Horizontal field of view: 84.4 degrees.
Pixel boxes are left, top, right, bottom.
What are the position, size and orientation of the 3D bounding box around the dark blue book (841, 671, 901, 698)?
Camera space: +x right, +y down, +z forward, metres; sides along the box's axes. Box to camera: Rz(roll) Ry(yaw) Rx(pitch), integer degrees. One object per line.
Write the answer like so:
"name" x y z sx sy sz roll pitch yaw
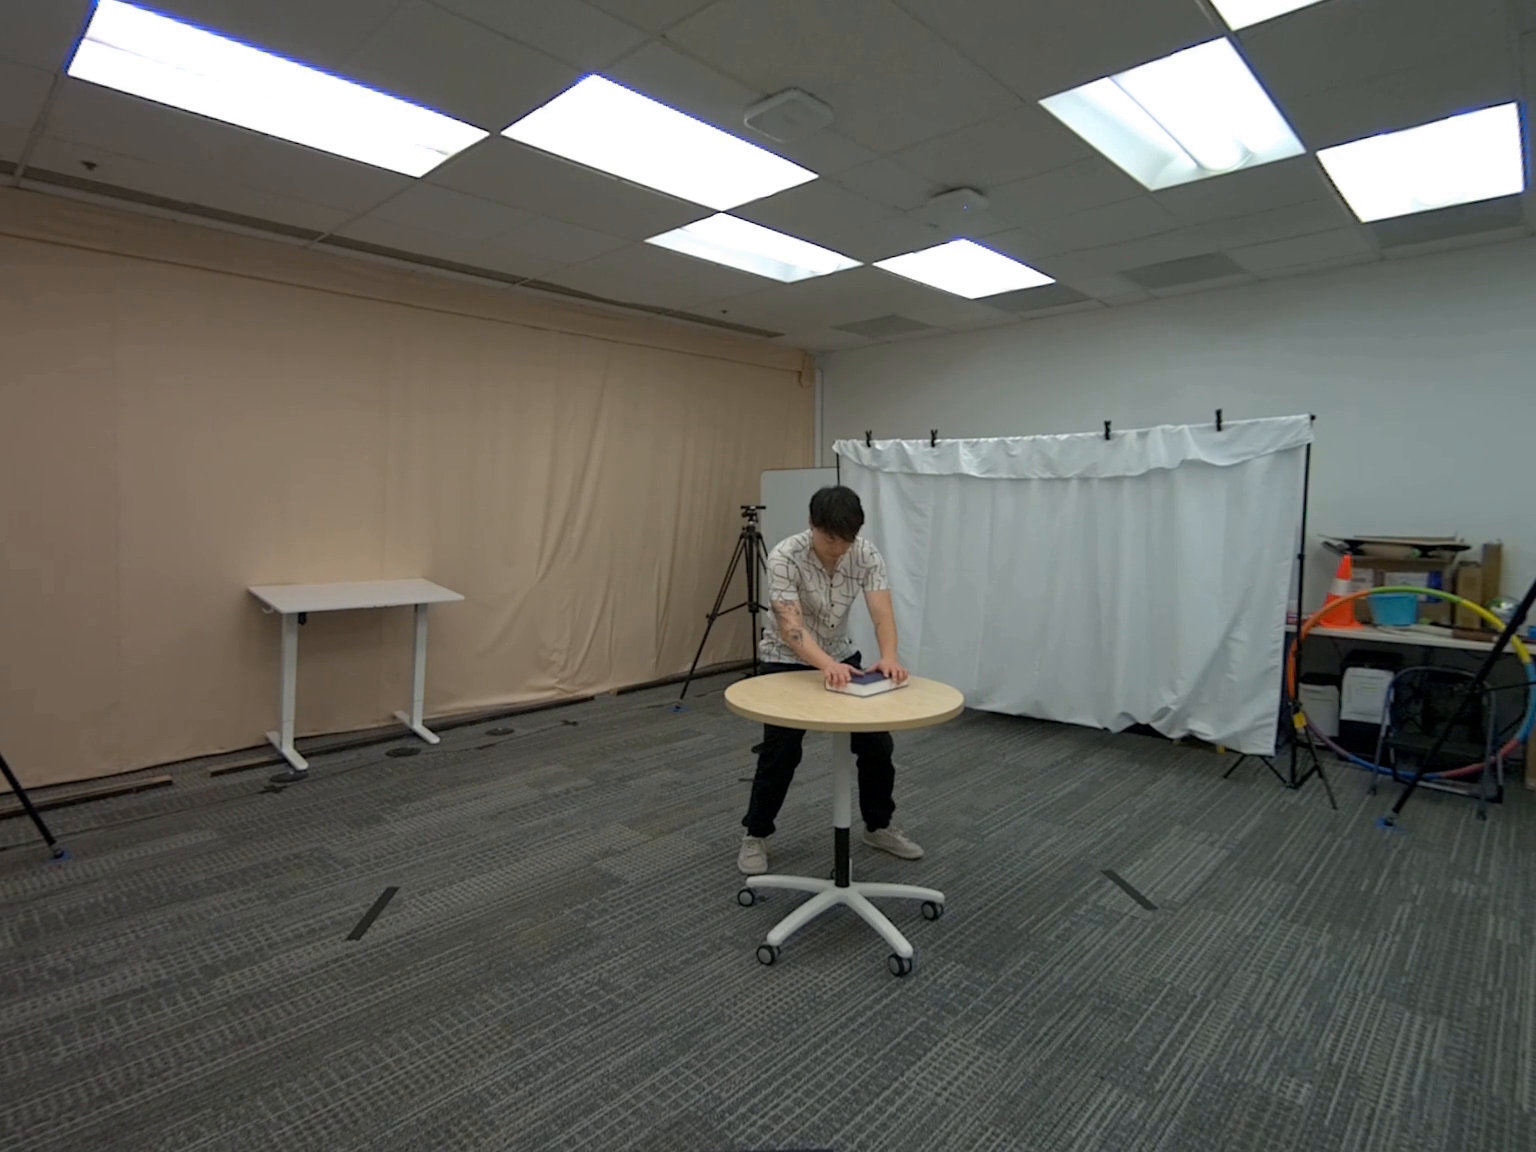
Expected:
"dark blue book" 0.327 0.356 2.808 0.169 0.045 0.238 3 6 45
